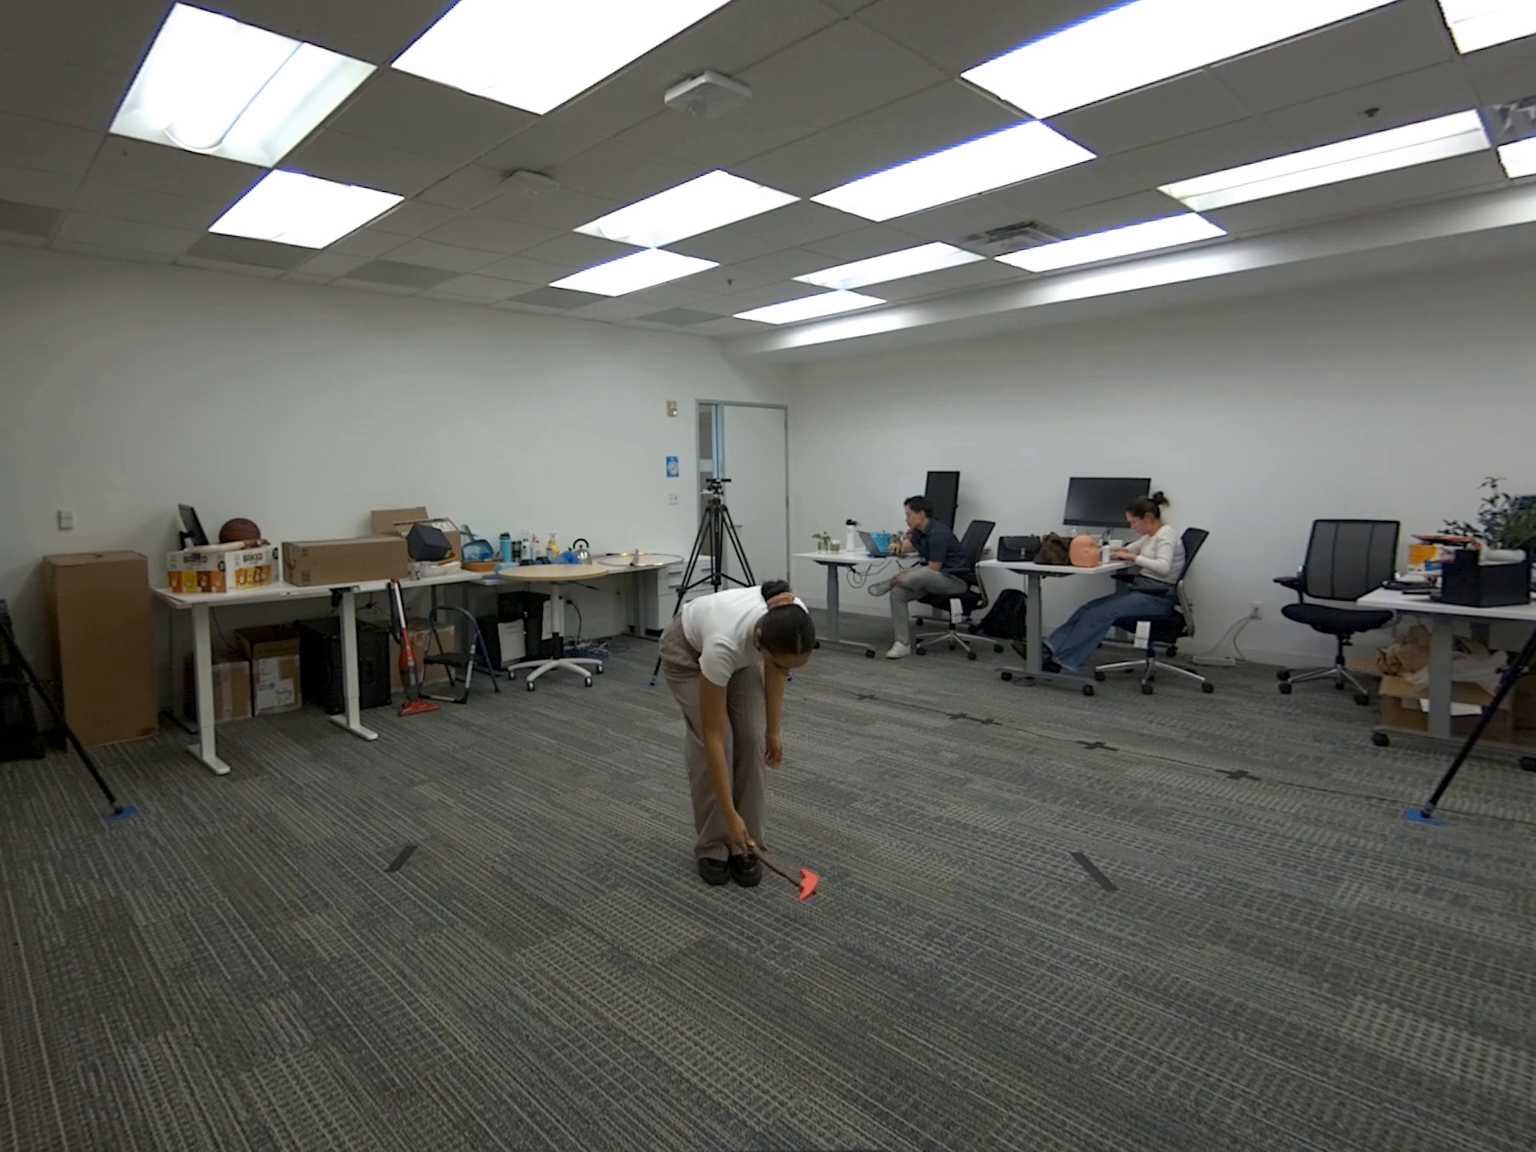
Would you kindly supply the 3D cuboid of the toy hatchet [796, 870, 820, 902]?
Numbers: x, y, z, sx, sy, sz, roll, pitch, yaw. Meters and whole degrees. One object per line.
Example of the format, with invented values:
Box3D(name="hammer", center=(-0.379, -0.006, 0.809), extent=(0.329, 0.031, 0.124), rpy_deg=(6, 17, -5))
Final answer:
Box3D(name="toy hatchet", center=(0.056, 0.910, 2.712), extent=(0.128, 0.029, 0.281), rpy_deg=(-12, 36, -40))
